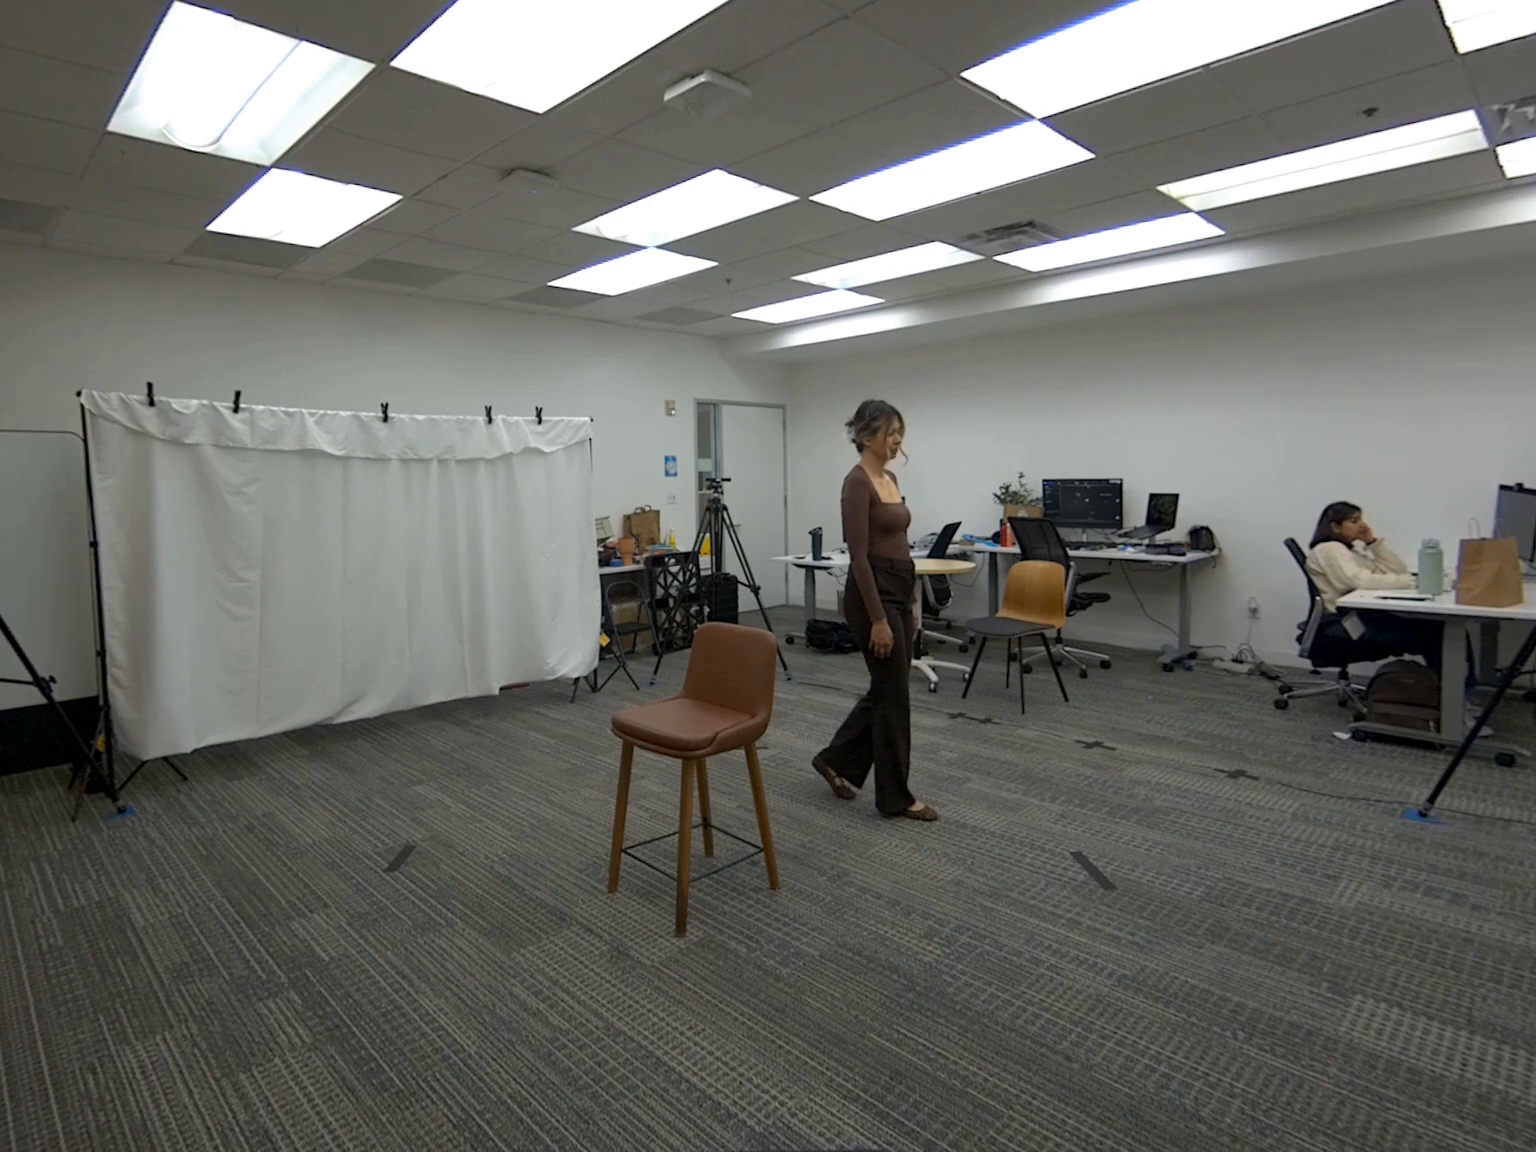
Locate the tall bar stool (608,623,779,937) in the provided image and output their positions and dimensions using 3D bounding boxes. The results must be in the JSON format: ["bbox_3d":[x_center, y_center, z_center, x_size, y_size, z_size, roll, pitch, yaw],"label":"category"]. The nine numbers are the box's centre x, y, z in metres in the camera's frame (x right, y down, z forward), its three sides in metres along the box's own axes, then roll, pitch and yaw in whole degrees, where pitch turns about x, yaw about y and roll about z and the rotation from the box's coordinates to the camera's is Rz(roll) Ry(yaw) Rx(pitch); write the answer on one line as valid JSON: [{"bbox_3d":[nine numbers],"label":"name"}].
[{"bbox_3d":[-0.248,0.638,2.879,0.454,0.887,0.470,-2,4,-43],"label":"tall bar stool"}]
